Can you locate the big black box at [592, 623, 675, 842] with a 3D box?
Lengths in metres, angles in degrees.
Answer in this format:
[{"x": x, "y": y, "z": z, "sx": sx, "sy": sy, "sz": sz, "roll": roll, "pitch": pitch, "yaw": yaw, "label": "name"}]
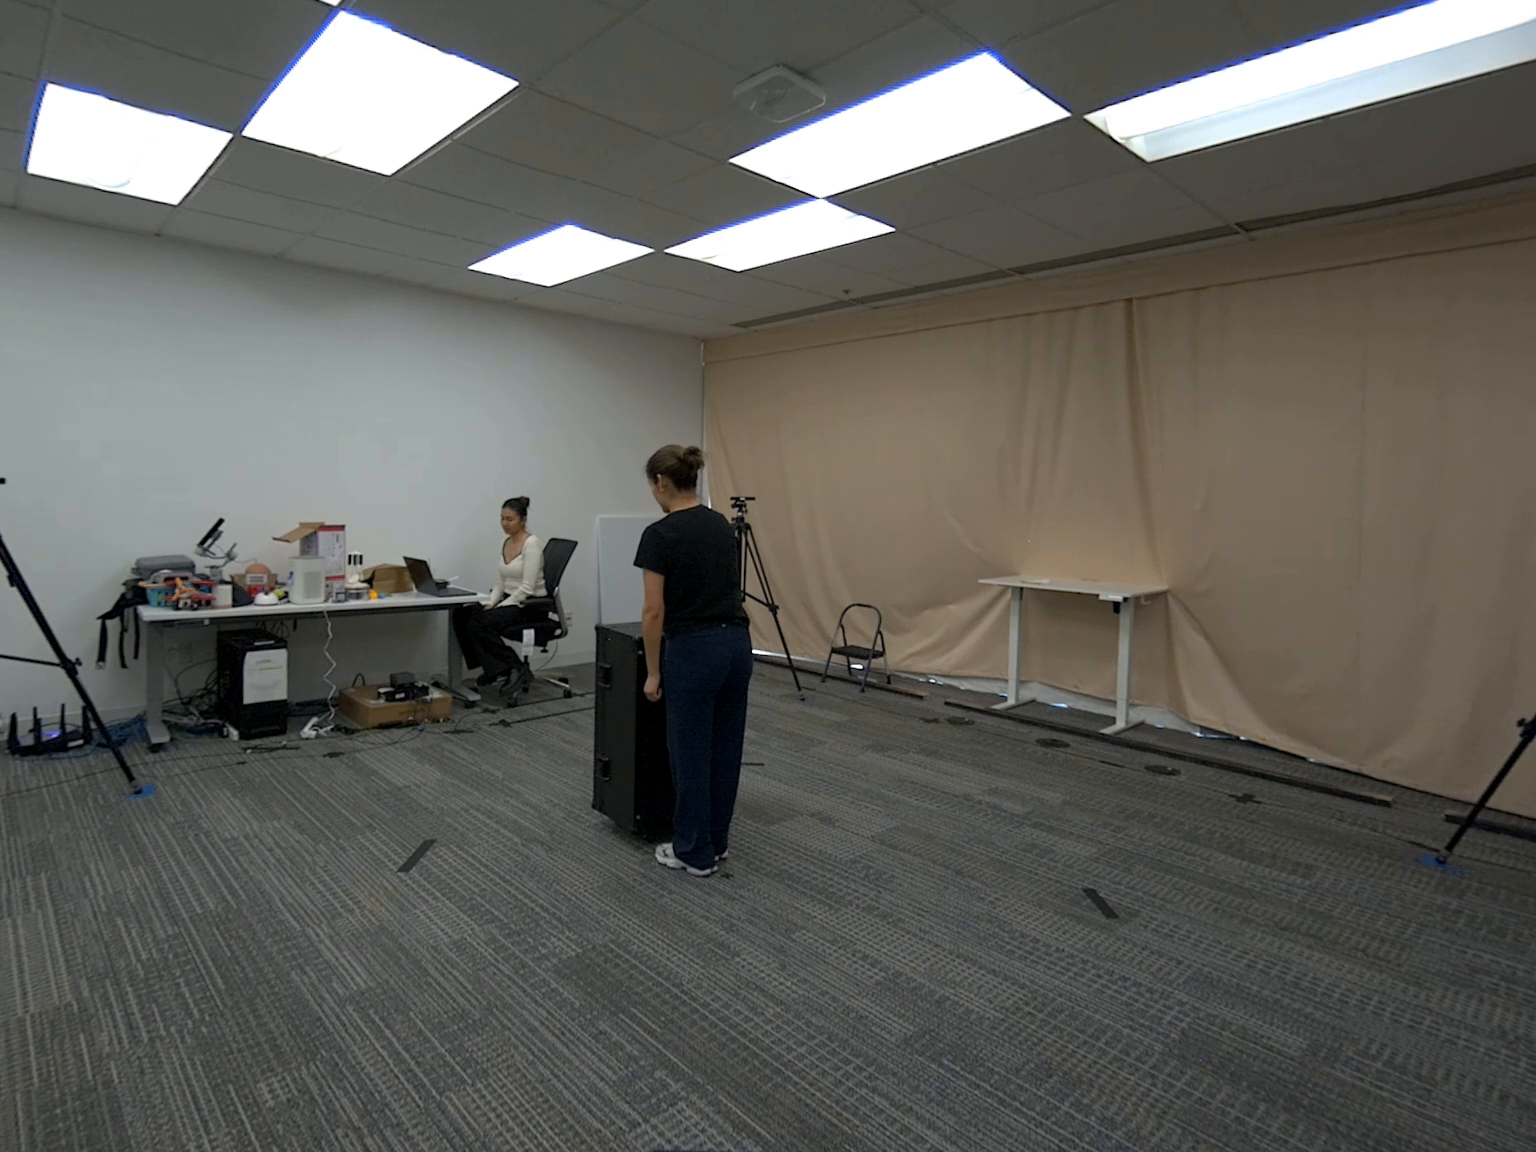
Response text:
[{"x": -0.431, "y": 0.577, "z": 3.510, "sx": 0.509, "sy": 0.859, "sz": 0.406, "roll": -1, "pitch": 5, "yaw": -38, "label": "big black box"}]
